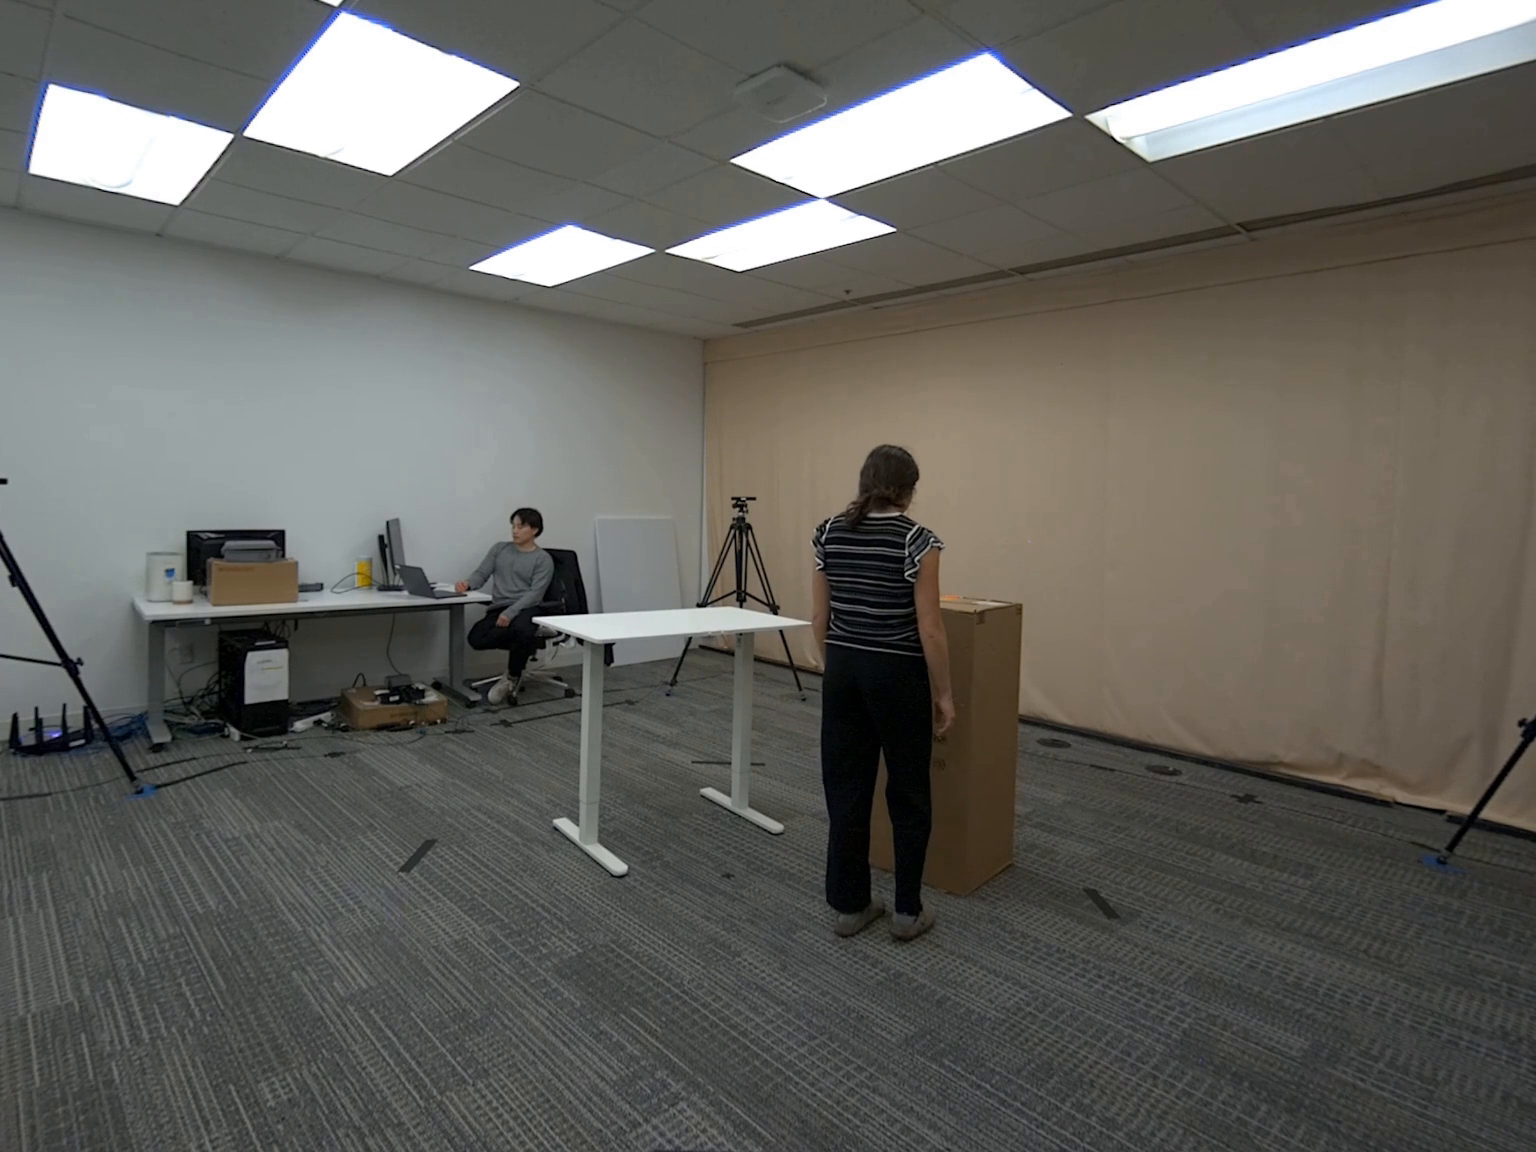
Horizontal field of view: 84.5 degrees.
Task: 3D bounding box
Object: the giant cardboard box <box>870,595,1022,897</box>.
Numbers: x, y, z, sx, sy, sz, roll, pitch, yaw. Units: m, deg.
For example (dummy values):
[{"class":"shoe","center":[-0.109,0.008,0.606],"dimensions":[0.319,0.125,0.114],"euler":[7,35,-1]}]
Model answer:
[{"class":"giant cardboard box","center":[0.613,0.601,3.294],"dimensions":[0.592,1.024,0.416],"euler":[4,4,39]}]
